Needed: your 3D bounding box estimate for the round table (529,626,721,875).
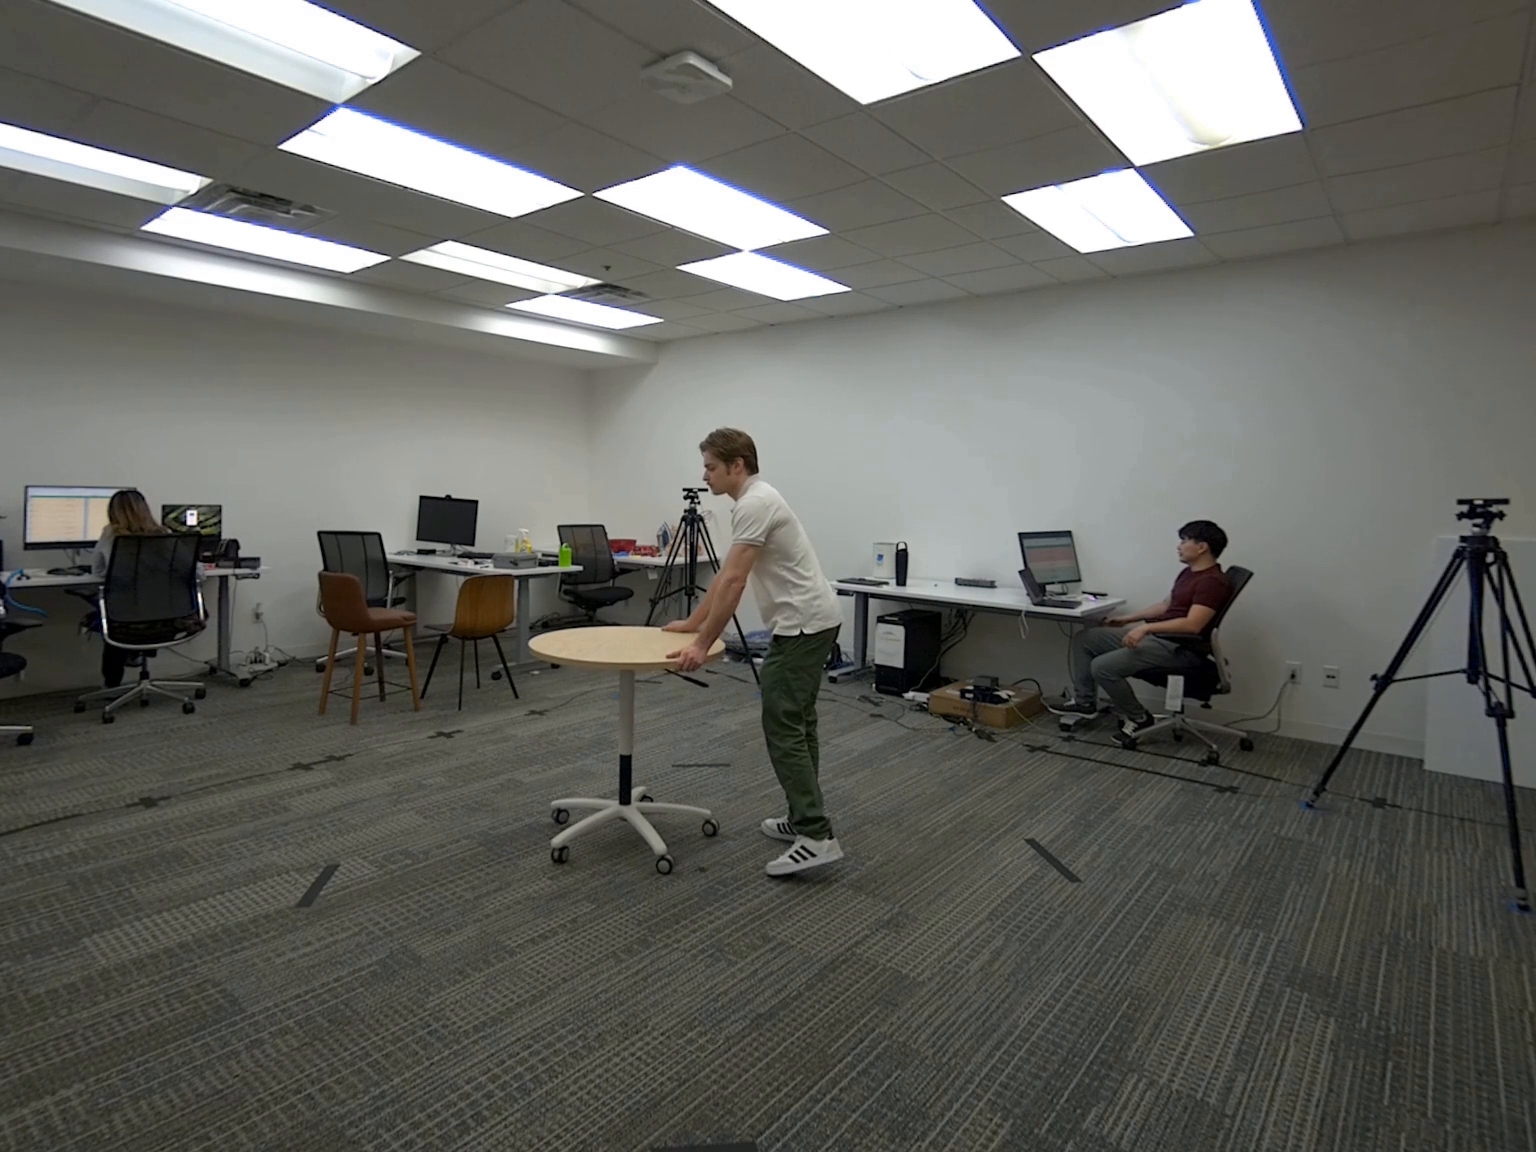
[{"bbox_3d":[-0.575,0.653,3.362,0.763,0.791,0.768,2,4,-2],"label":"round table"}]
